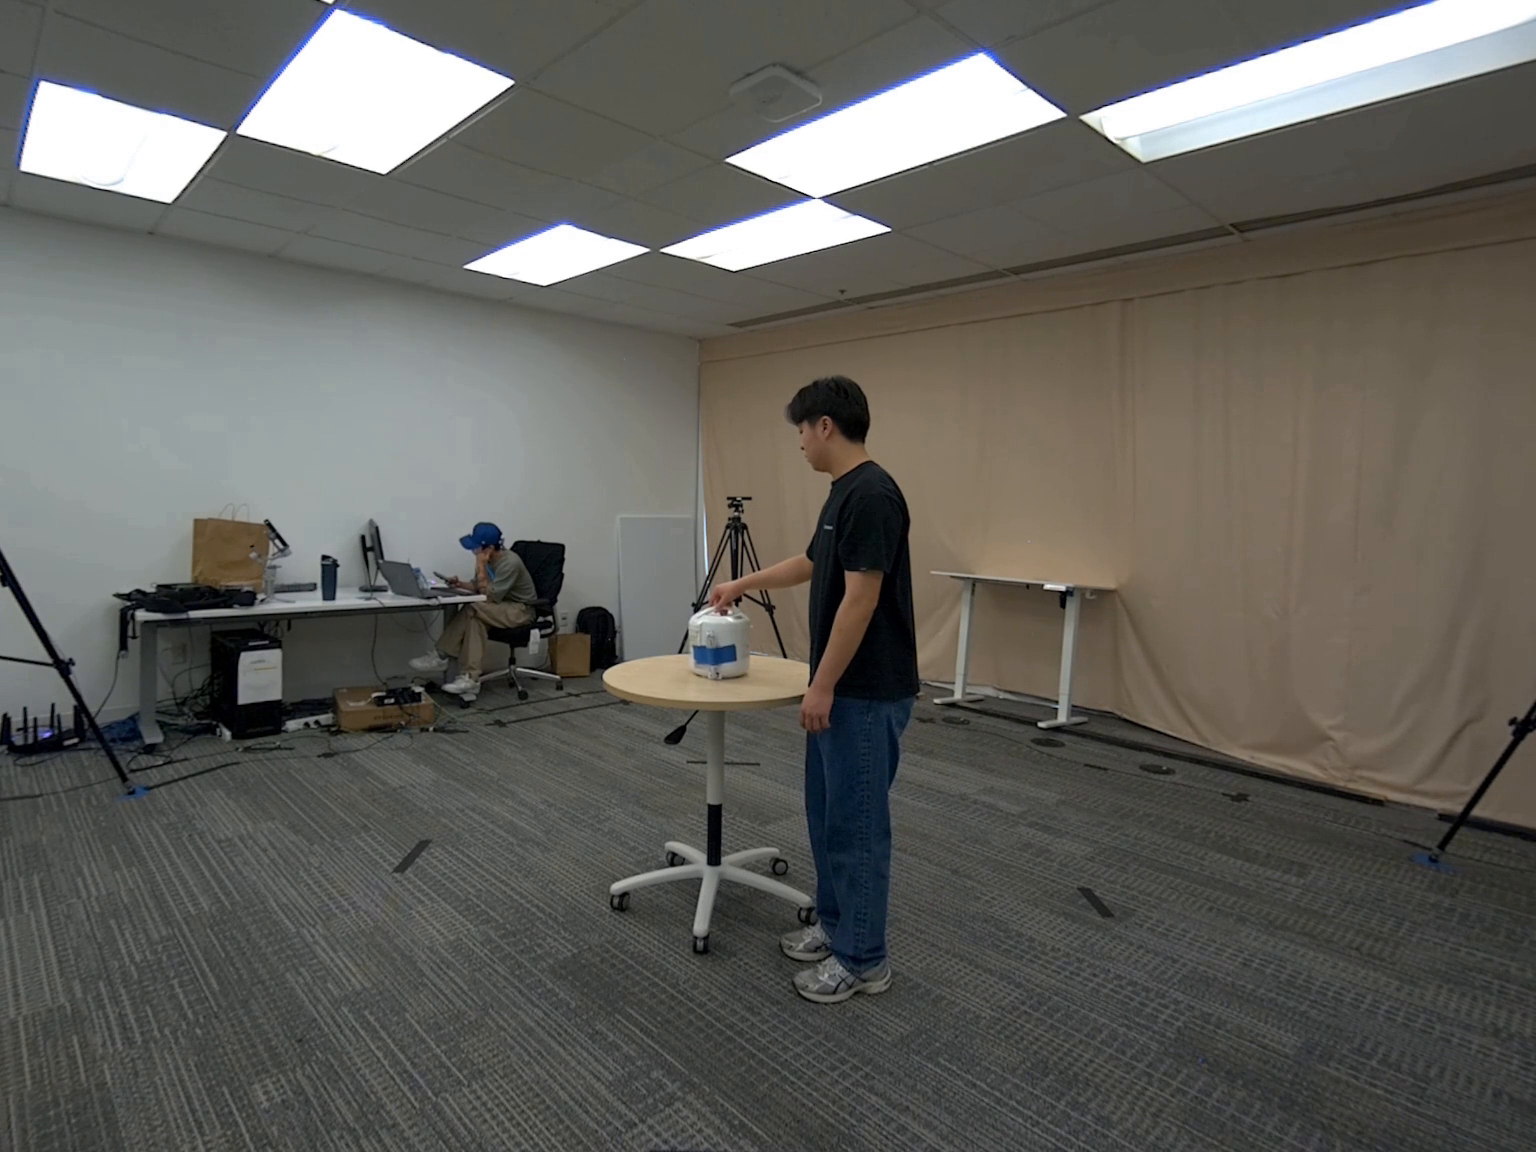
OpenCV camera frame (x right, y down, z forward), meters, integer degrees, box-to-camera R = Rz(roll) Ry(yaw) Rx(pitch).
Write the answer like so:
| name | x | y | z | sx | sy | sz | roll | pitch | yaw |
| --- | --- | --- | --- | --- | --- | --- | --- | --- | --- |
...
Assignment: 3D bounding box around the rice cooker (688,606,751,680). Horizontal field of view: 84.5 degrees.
| name | x | y | z | sx | sy | sz | roll | pitch | yaw |
| --- | --- | --- | --- | --- | --- | --- | --- | --- | --- |
| rice cooker | -0.169 | 0.218 | 2.849 | 0.216 | 0.232 | 0.223 | -2 | 7 | -36 |
